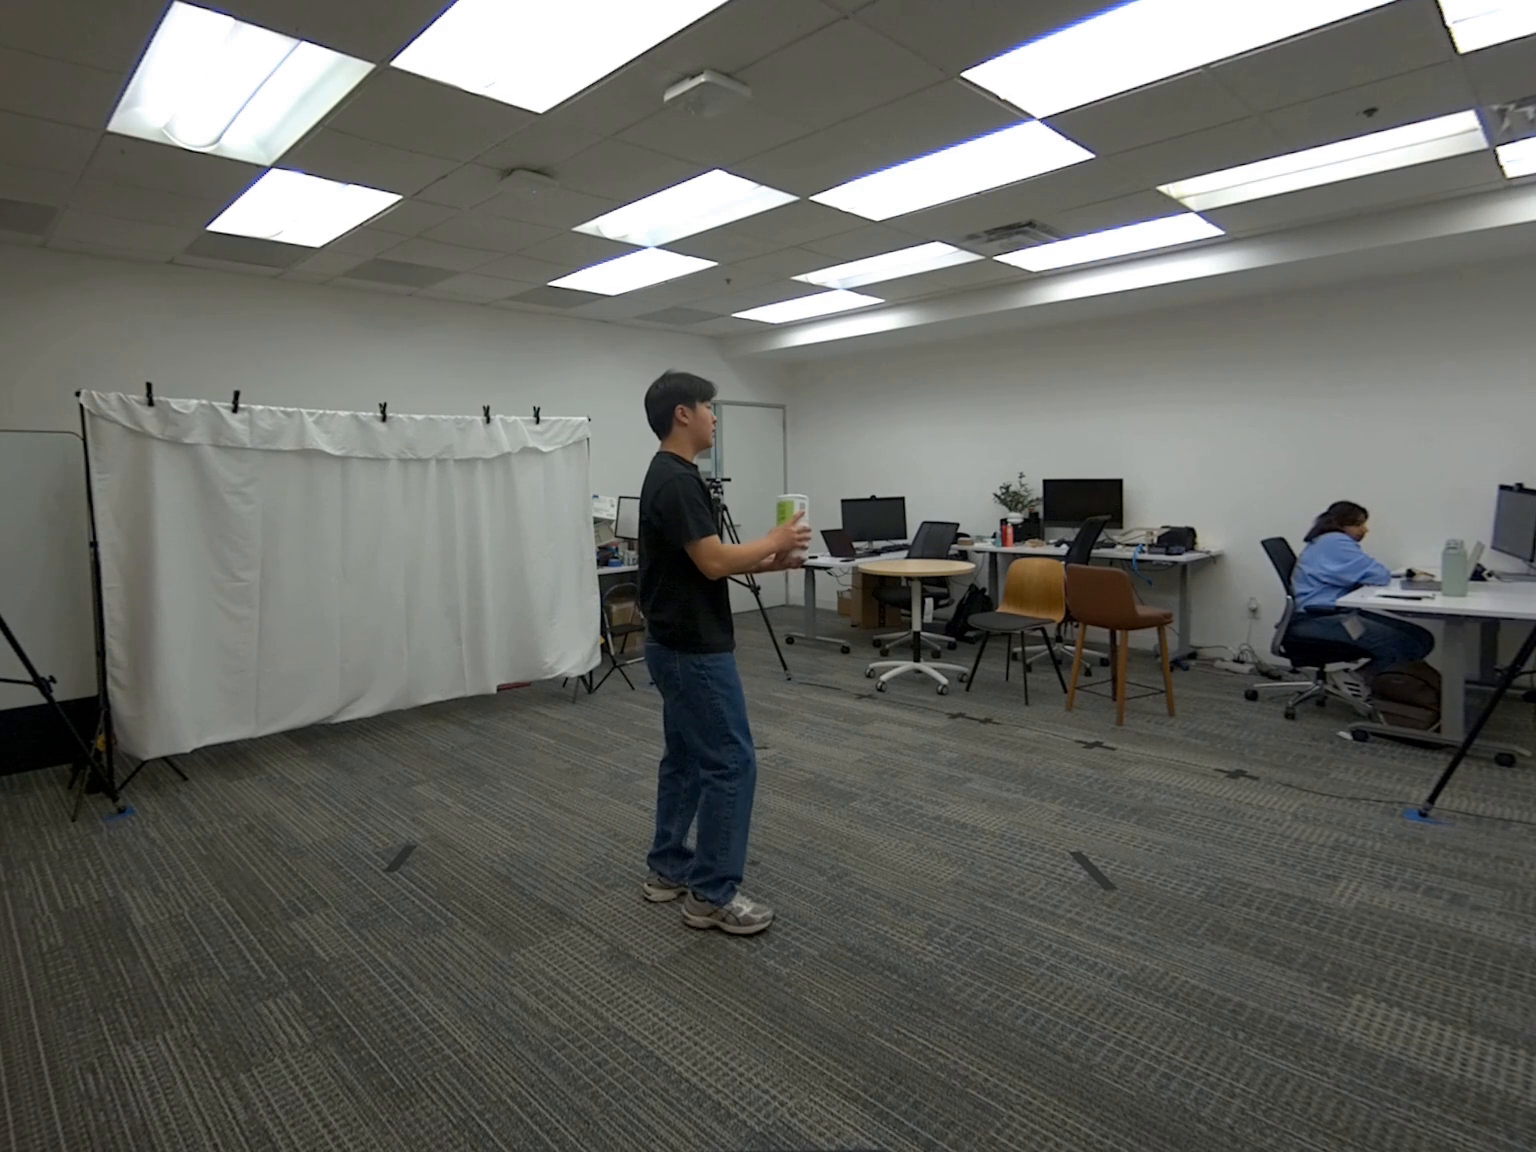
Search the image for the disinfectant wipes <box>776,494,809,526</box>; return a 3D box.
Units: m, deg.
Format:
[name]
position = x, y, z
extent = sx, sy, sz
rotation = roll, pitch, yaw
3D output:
[disinfectant wipes]
position = 0.091, -0.167, 2.851
extent = 0.118, 0.218, 0.117
rotation = 0, -4, -2
